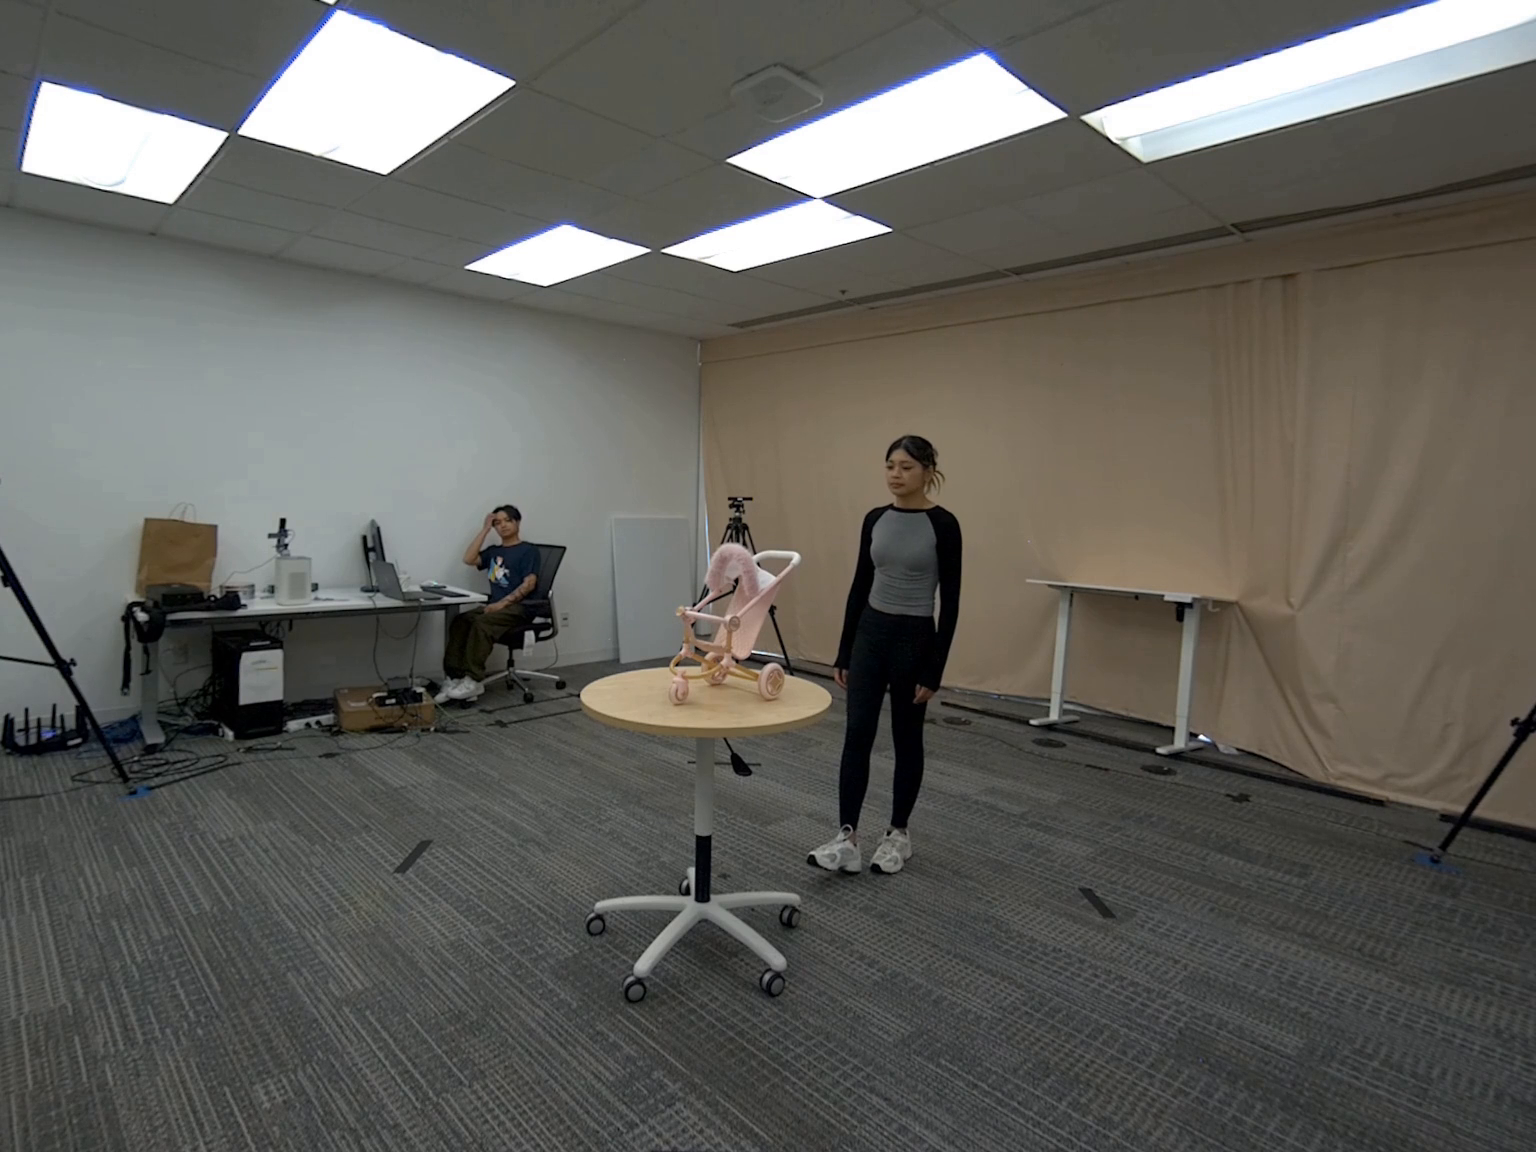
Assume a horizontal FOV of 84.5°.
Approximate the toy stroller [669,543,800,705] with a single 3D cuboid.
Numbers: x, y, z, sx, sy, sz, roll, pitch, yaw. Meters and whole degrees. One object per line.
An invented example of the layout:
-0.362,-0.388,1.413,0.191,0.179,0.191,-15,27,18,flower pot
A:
-0.124,0.145,2.545,0.331,0.537,0.288,18,-8,-40,toy stroller
